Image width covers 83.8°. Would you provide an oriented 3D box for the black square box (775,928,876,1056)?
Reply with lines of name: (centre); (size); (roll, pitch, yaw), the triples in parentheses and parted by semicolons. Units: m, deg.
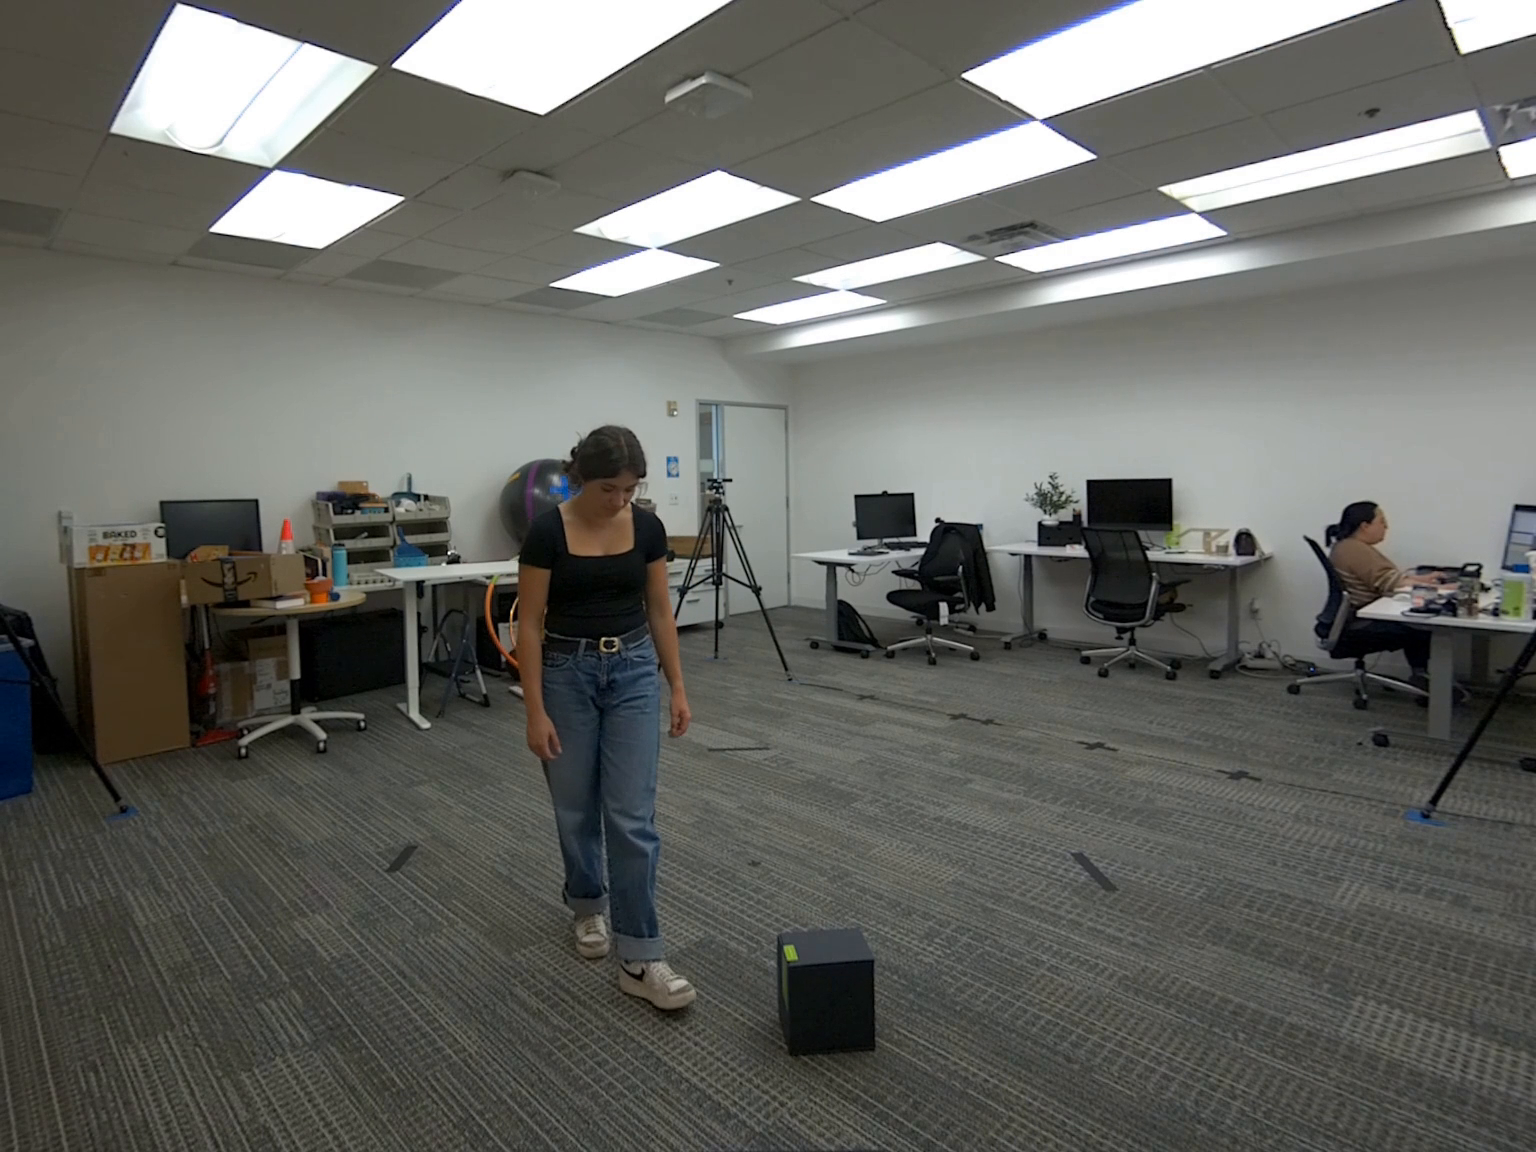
black square box: (0.149, 1.030, 2.147); (0.216, 0.227, 0.157); (-2, 3, -7)
